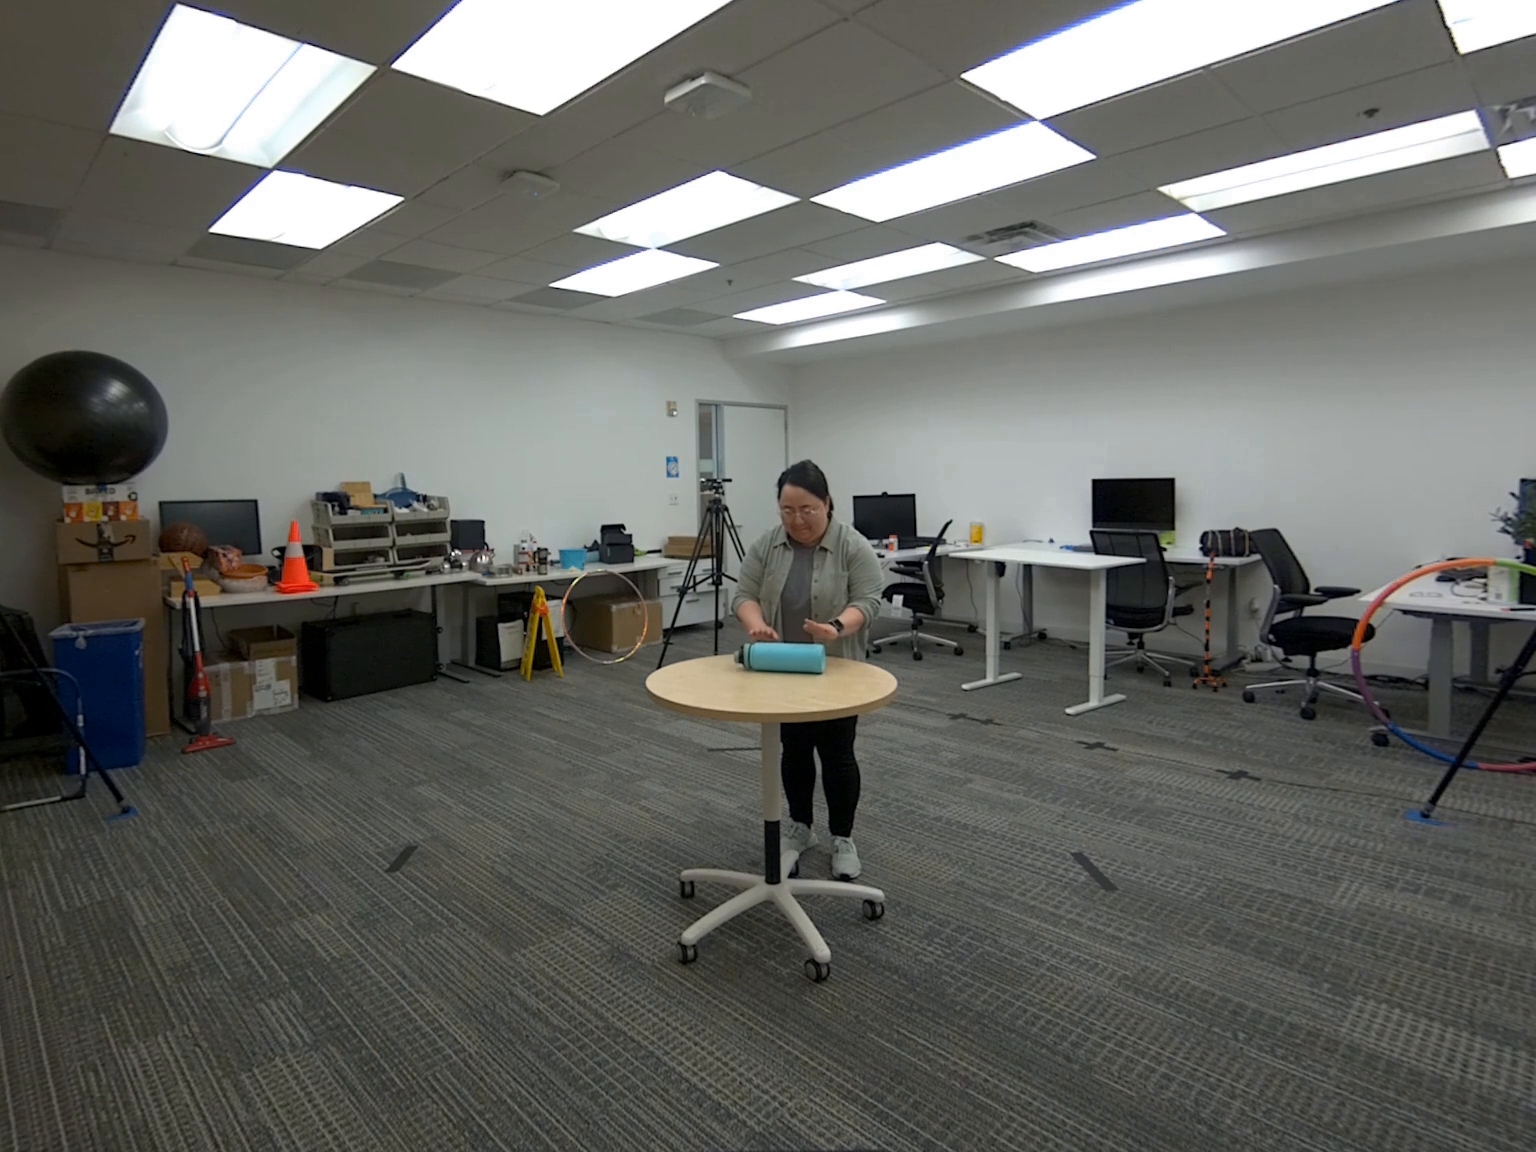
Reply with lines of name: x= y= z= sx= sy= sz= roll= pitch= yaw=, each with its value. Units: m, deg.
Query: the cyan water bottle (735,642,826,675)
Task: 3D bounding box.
cyan water bottle: x=0.042 y=0.263 z=2.723 sx=0.287 sy=0.092 sz=0.091 roll=0 pitch=5 yaw=14
